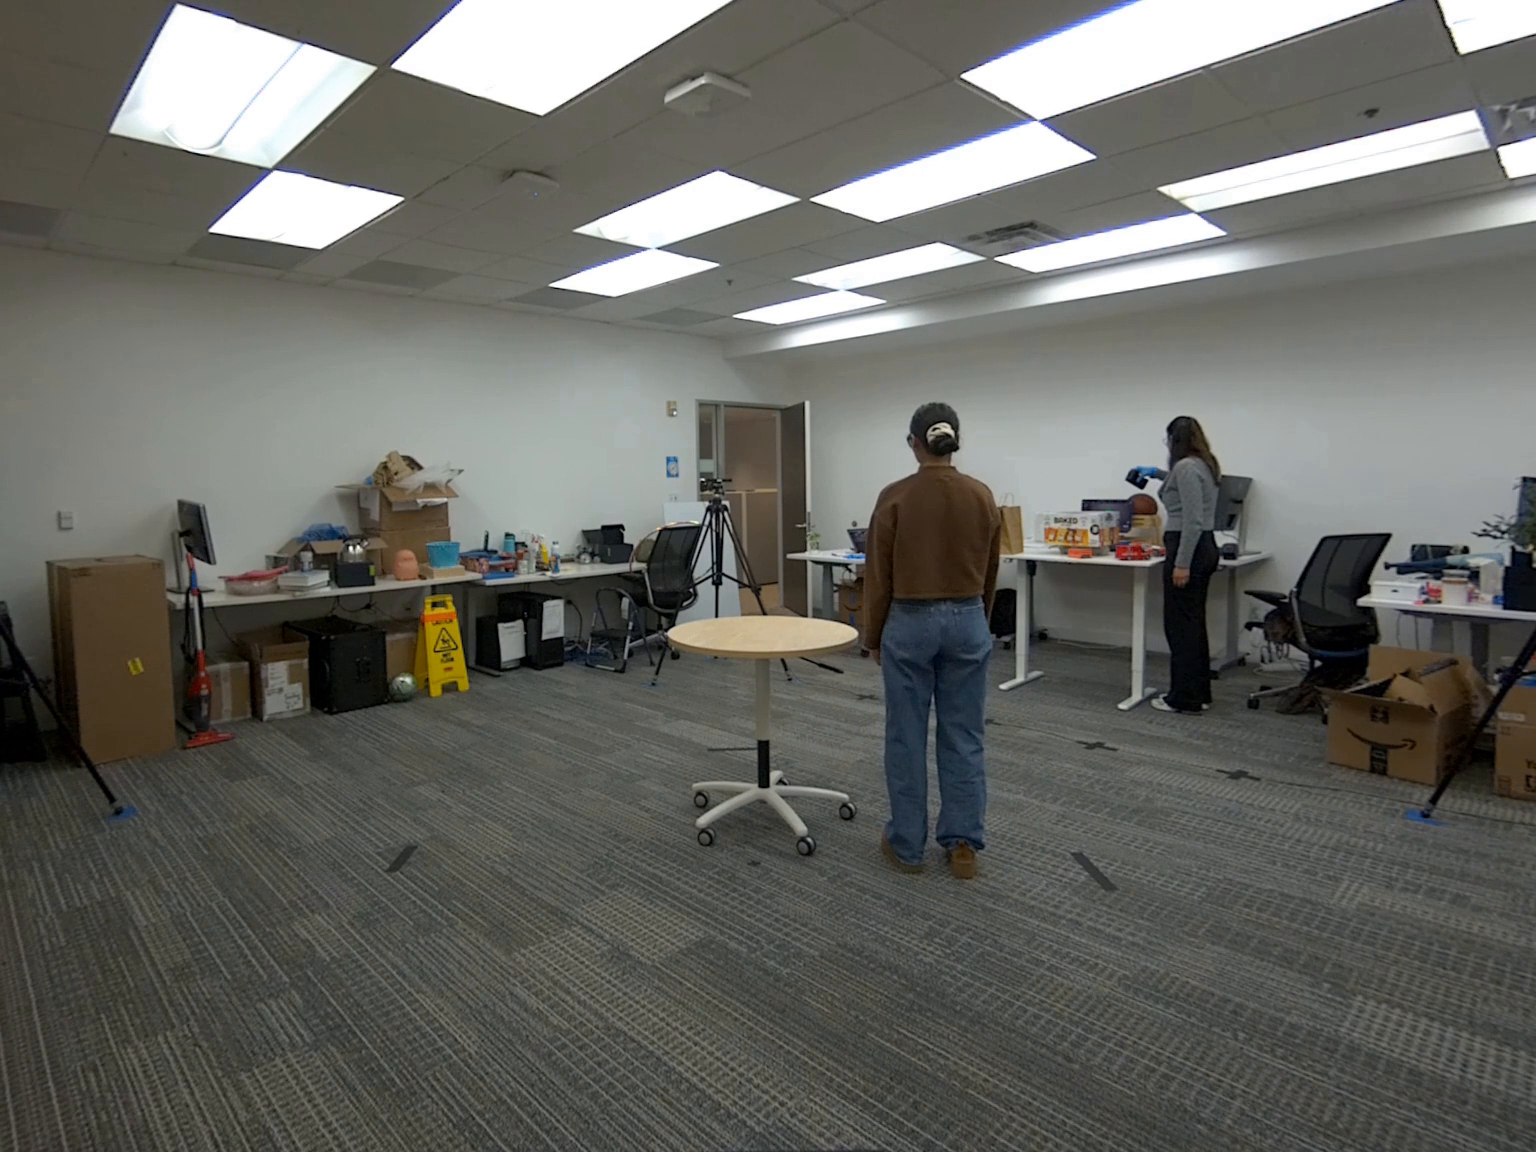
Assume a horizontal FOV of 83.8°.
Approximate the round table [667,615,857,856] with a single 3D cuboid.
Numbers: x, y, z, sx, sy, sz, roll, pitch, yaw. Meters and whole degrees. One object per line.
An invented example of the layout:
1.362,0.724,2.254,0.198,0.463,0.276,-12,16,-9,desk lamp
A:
-0.008,0.614,3.478,0.763,0.791,0.768,-1,5,-2,round table
